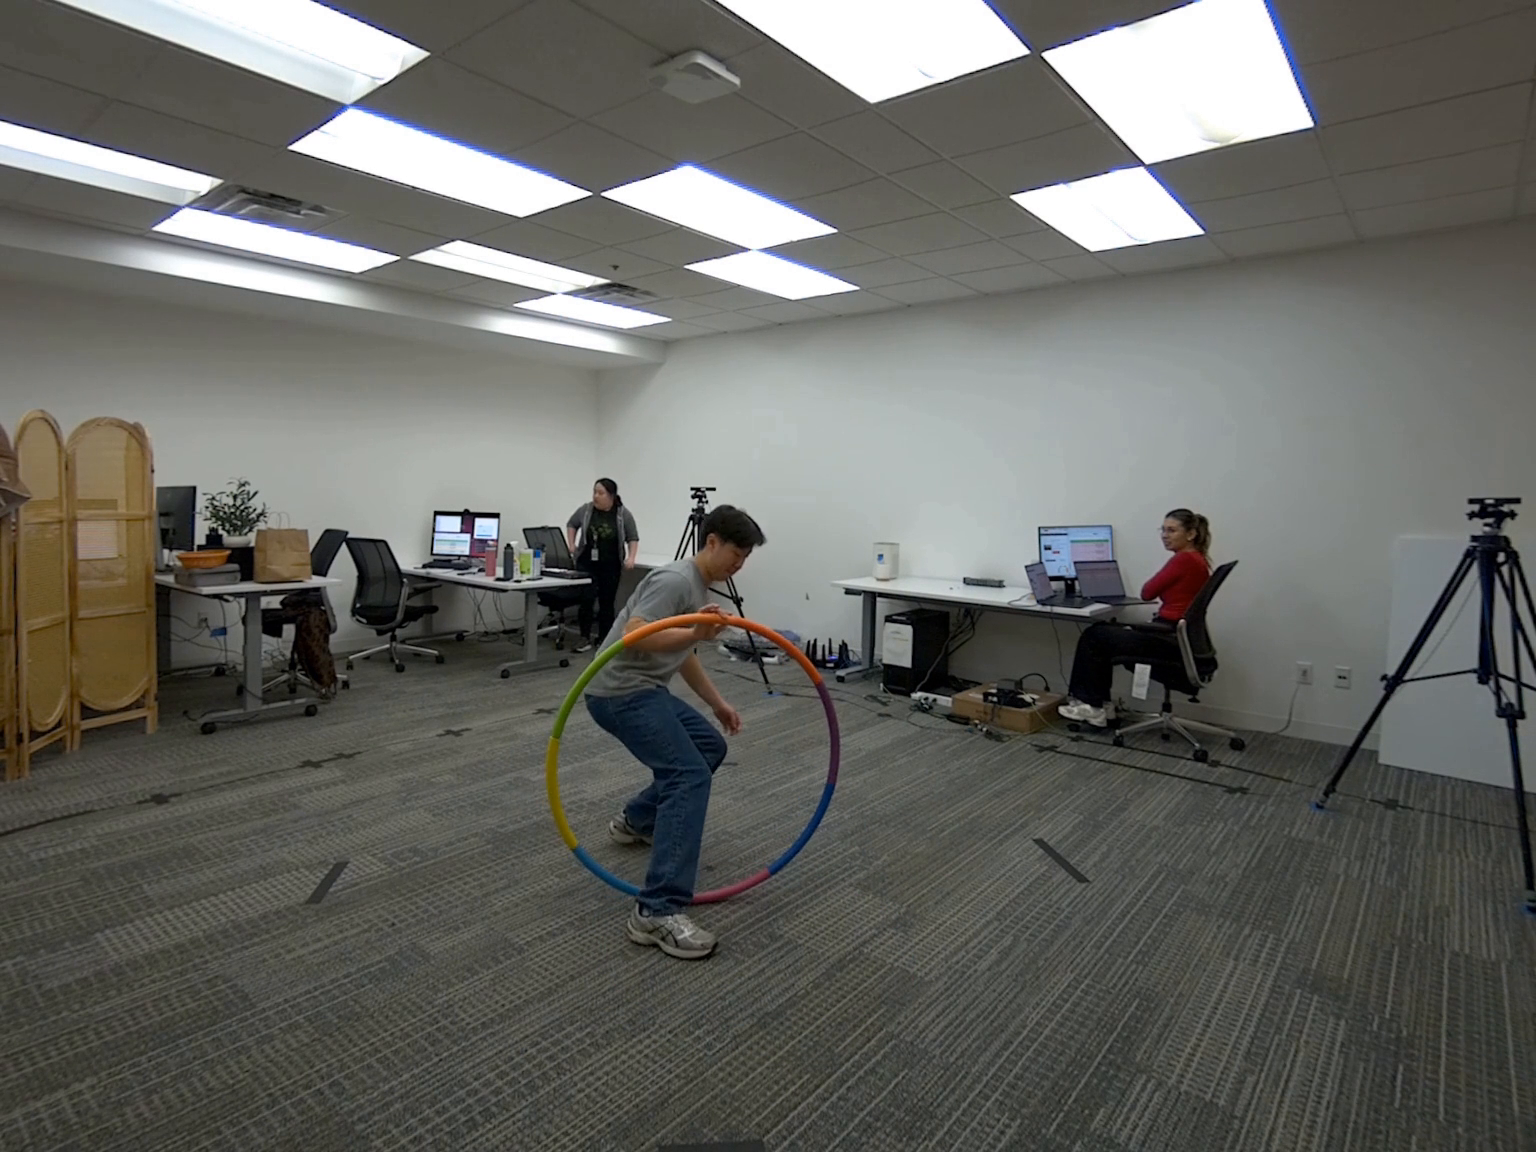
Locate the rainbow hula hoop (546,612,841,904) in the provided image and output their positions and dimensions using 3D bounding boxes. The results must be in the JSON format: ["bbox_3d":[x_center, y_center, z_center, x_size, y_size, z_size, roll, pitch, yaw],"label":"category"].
[{"bbox_3d":[-0.235,0.603,2.810,0.964,0.975,0.036,0,3,-14],"label":"rainbow hula hoop"}]
